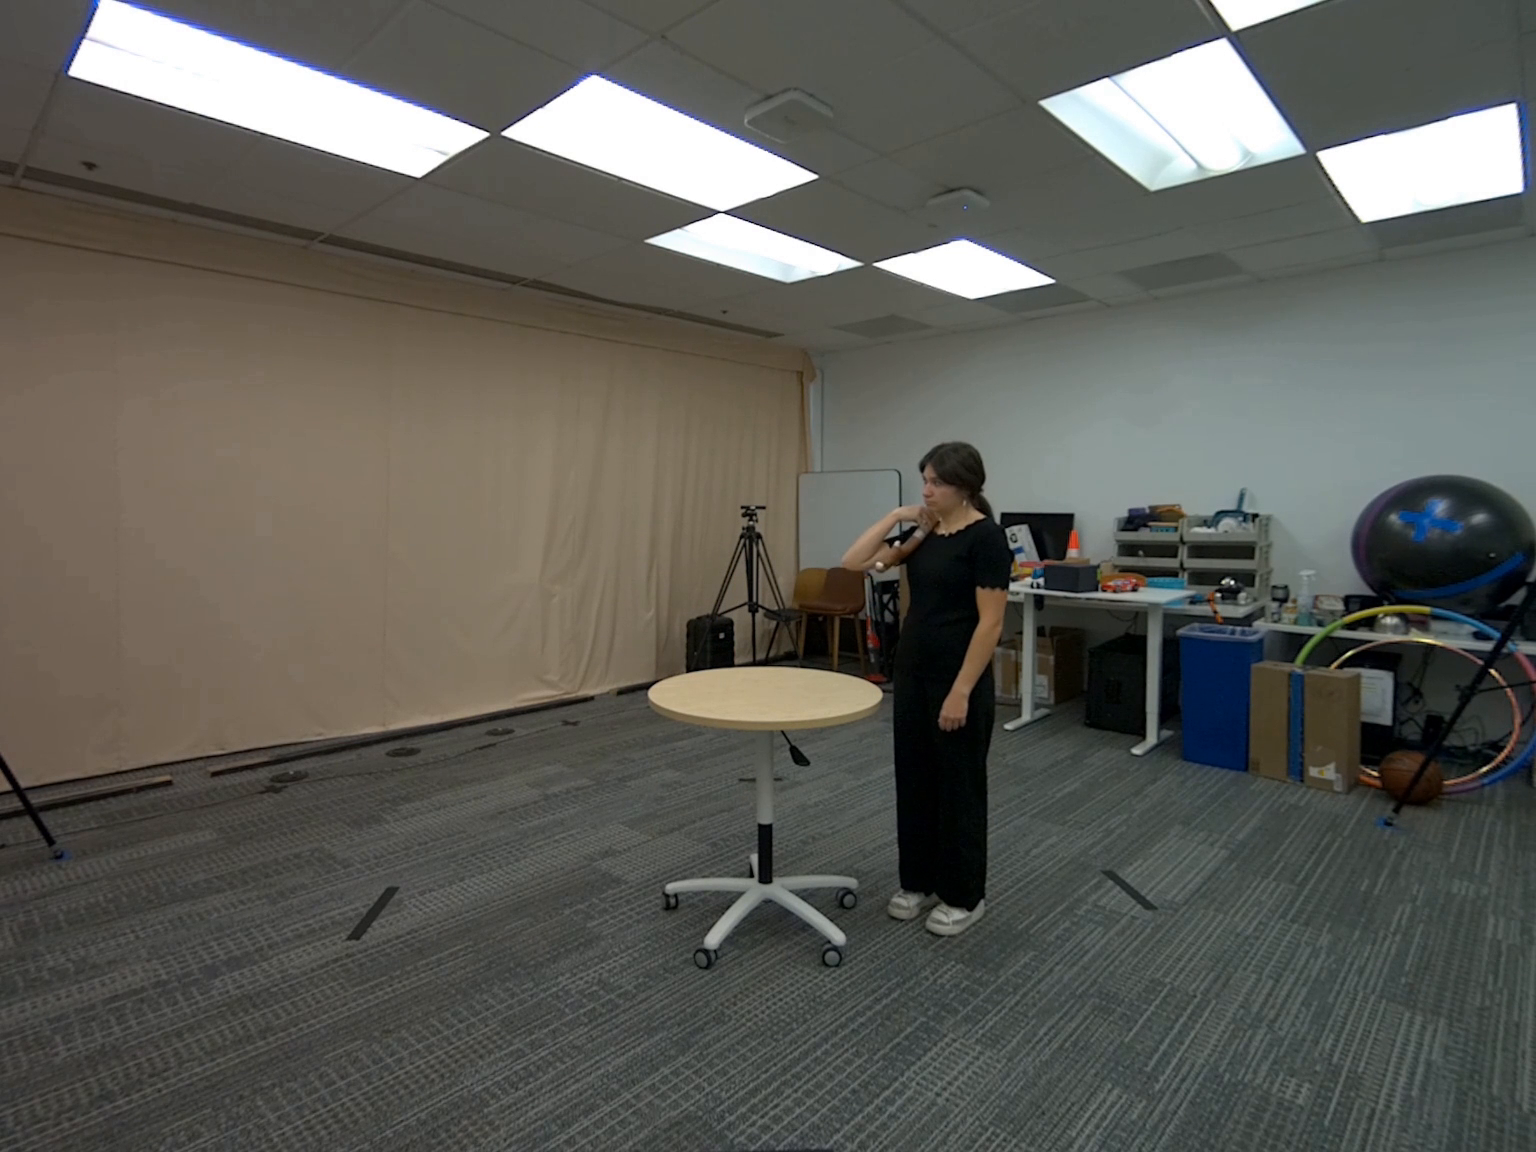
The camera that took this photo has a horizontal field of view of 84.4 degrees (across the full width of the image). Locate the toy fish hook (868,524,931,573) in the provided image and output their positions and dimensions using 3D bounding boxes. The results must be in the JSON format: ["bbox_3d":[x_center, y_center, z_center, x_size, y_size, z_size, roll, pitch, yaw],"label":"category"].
[{"bbox_3d":[0.553,-0.103,2.879,0.501,0.220,0.050,-36,26,-24],"label":"toy fish hook"}]
